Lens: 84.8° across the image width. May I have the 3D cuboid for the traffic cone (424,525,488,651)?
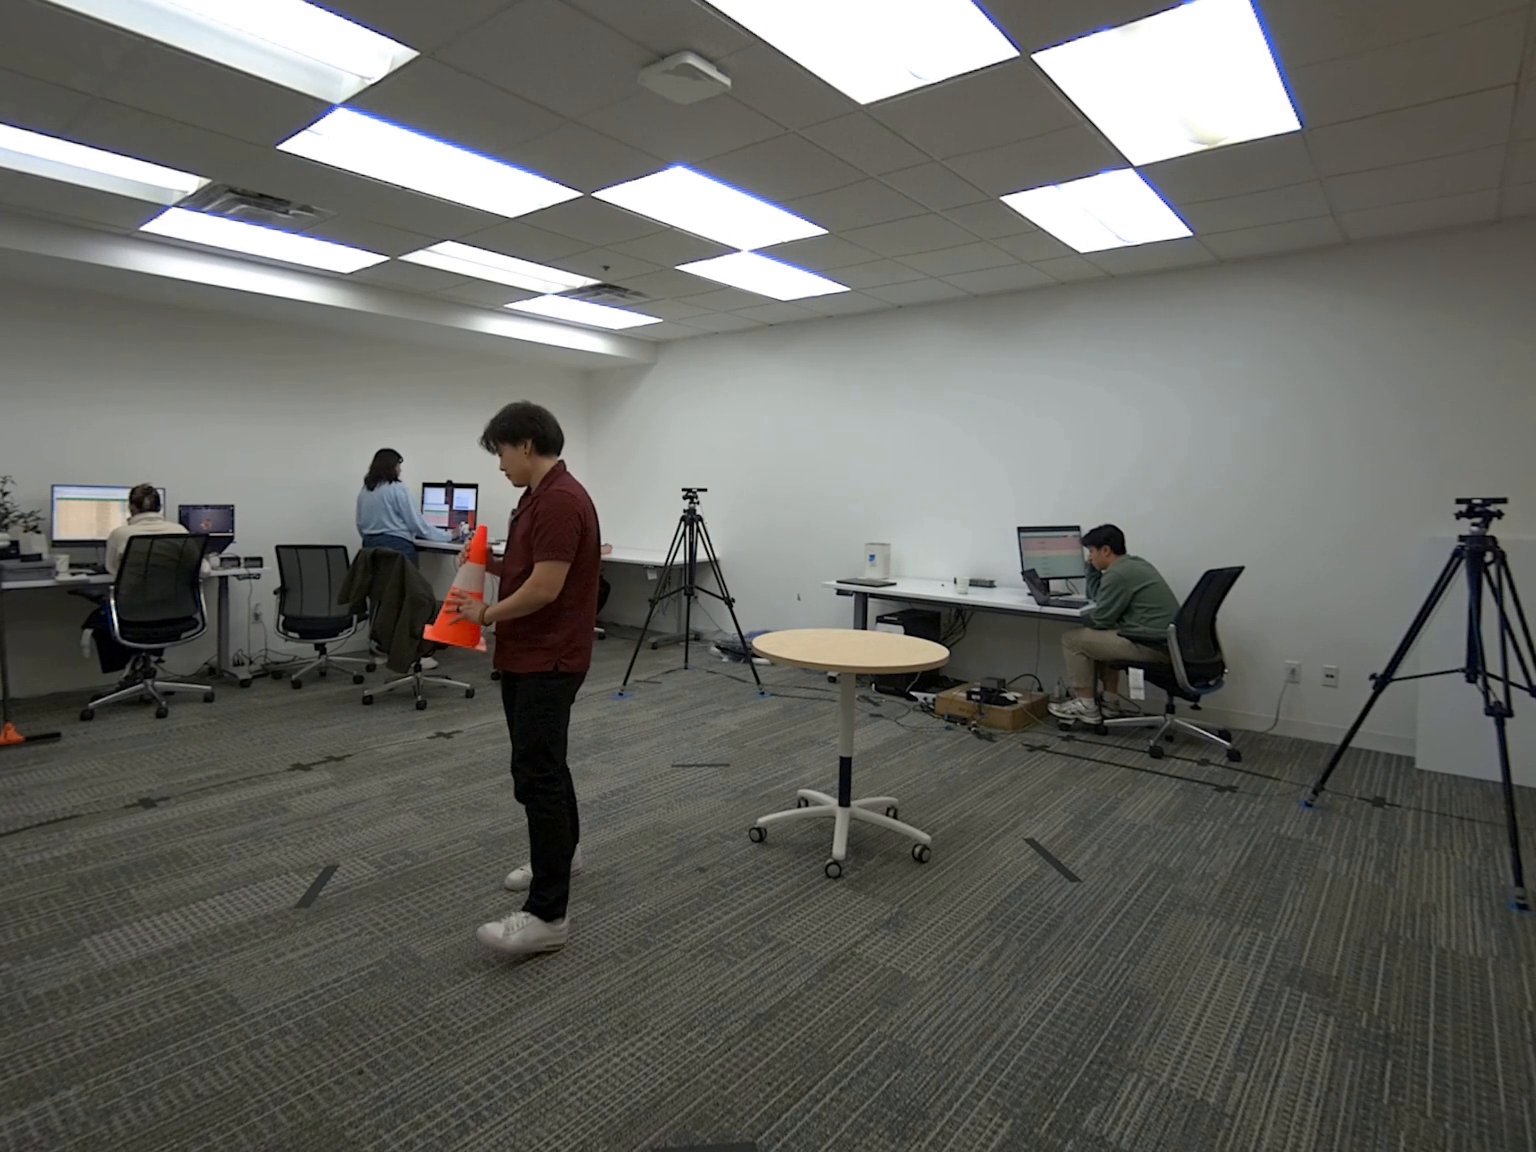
[{"bbox_3d":[-0.983,0.020,2.767,0.200,0.383,0.208,14,3,-13],"label":"traffic cone"}]
